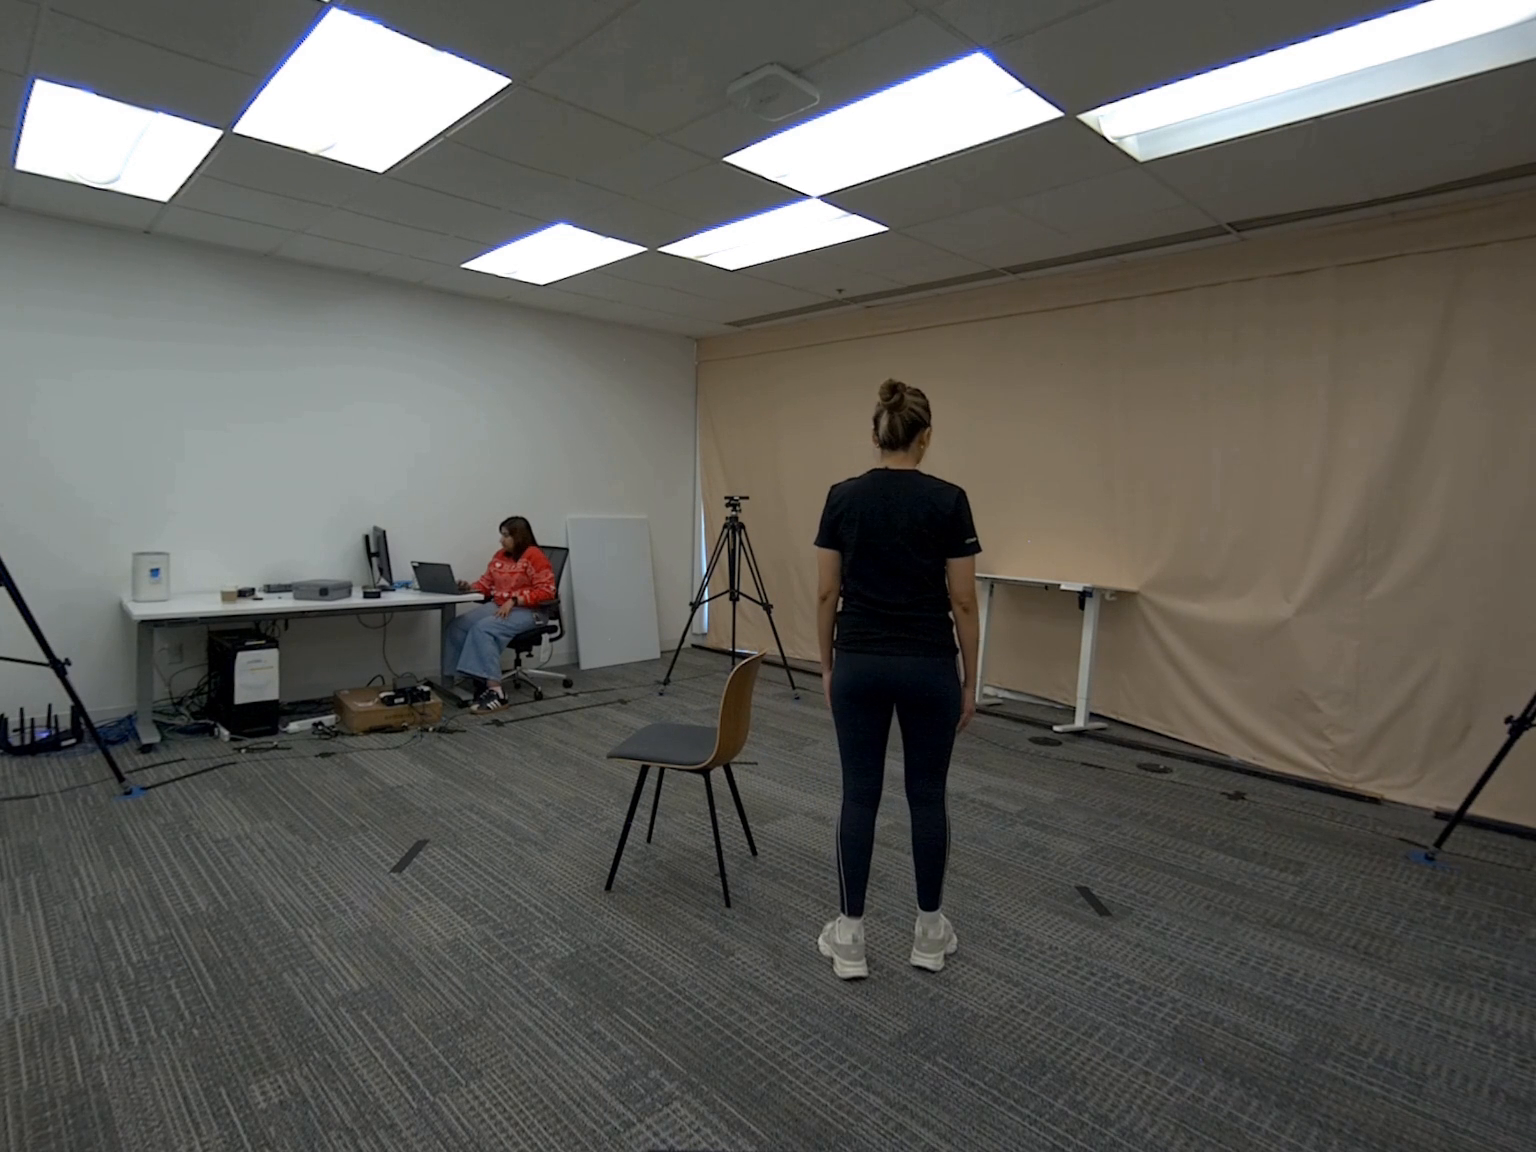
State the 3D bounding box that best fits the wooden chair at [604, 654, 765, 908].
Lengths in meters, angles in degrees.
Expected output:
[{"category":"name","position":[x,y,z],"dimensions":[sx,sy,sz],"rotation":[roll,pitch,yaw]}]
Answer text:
[{"category":"wooden chair","position":[-0.311,0.673,3.089],"dimensions":[0.529,0.875,0.474],"rotation":[6,5,13]}]
